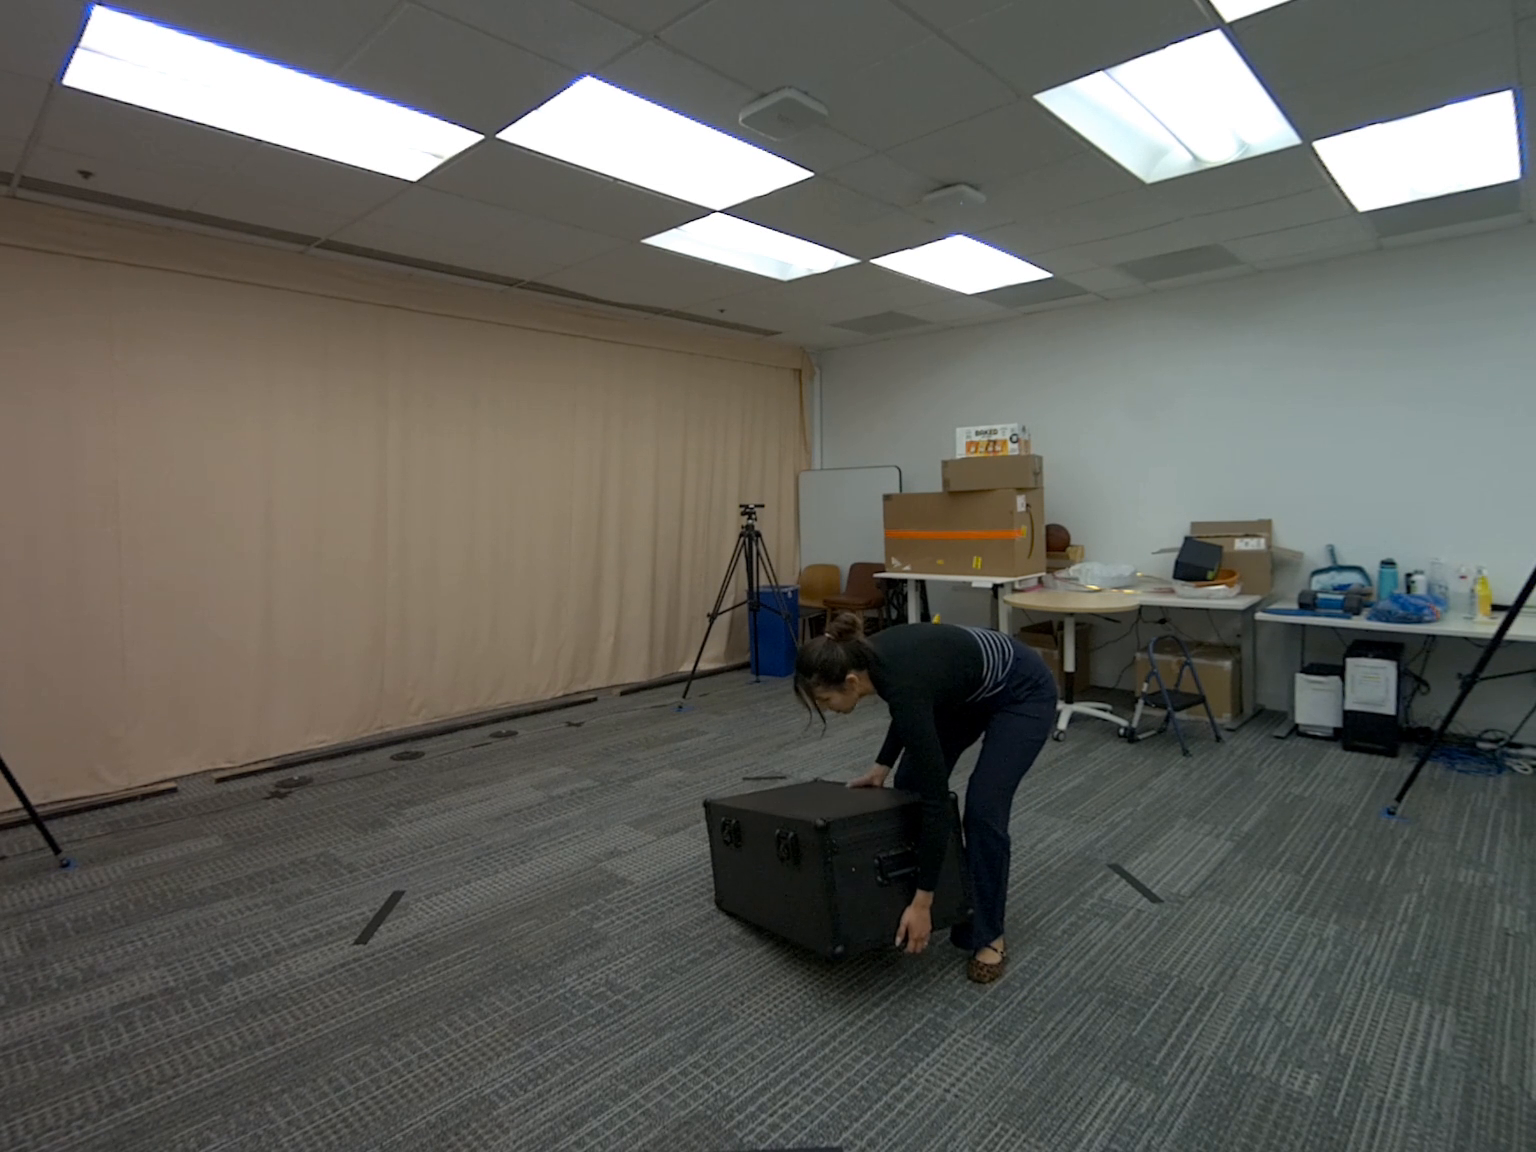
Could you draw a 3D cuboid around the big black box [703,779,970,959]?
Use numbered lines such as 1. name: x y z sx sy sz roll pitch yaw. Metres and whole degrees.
1. big black box: 0.188 0.901 2.674 0.509 0.398 0.876 -4 -8 -25
